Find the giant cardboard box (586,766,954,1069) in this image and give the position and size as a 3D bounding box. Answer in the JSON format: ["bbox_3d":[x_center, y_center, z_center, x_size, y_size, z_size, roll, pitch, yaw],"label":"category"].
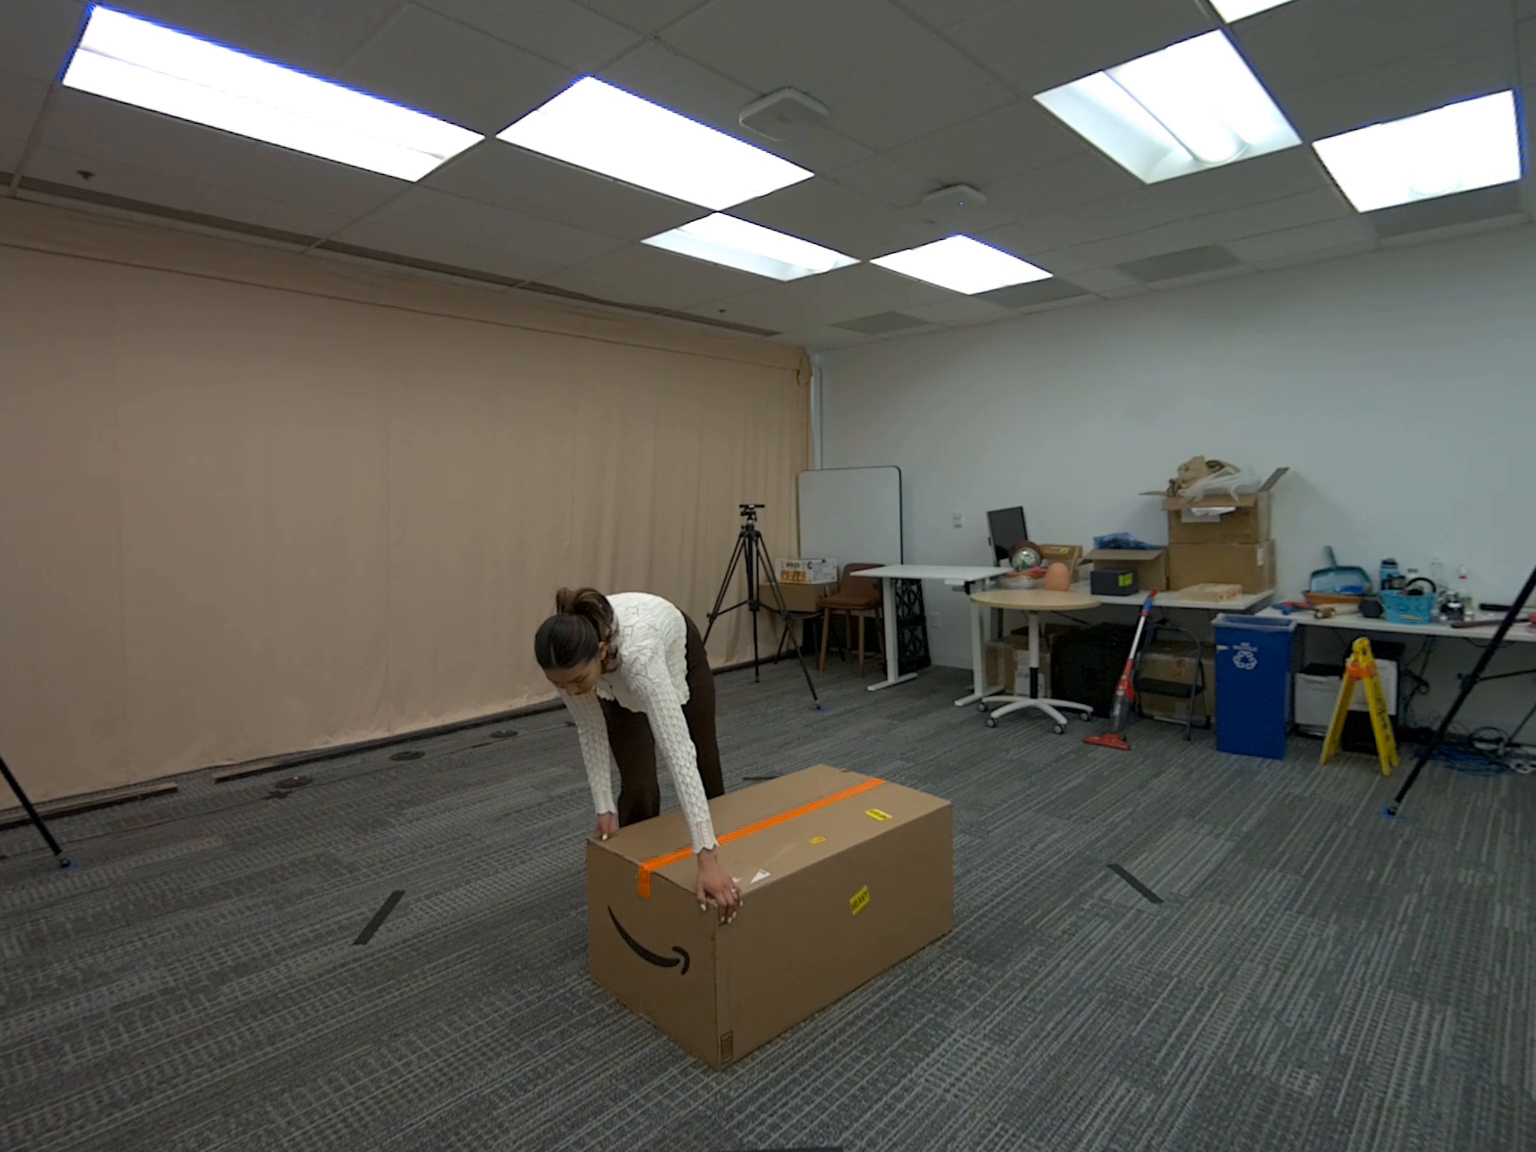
[{"bbox_3d":[0.042,0.959,2.596,0.995,0.425,0.597,-5,6,-43],"label":"giant cardboard box"}]
